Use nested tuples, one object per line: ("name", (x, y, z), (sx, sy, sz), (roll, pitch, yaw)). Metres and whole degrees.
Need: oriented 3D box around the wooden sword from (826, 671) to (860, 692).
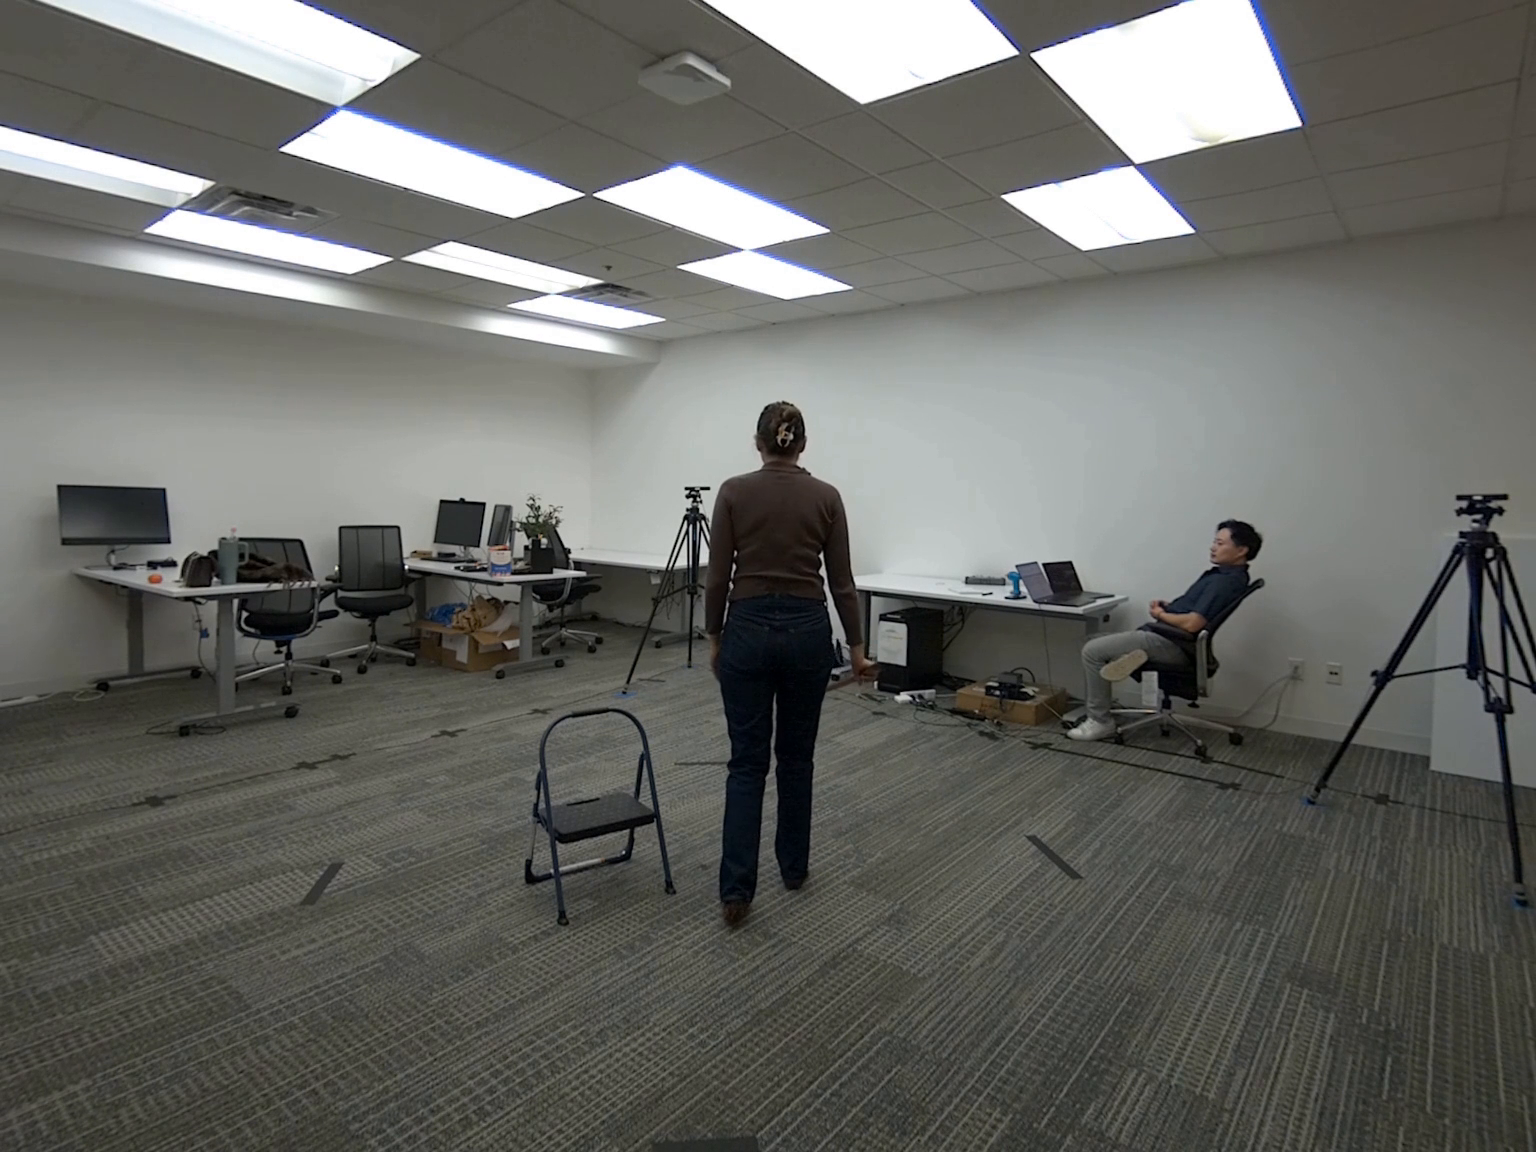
("wooden sword", (0.229, 0.428, 3.328), (0.051, 0.024, 1.025), (41, -19, -3))
